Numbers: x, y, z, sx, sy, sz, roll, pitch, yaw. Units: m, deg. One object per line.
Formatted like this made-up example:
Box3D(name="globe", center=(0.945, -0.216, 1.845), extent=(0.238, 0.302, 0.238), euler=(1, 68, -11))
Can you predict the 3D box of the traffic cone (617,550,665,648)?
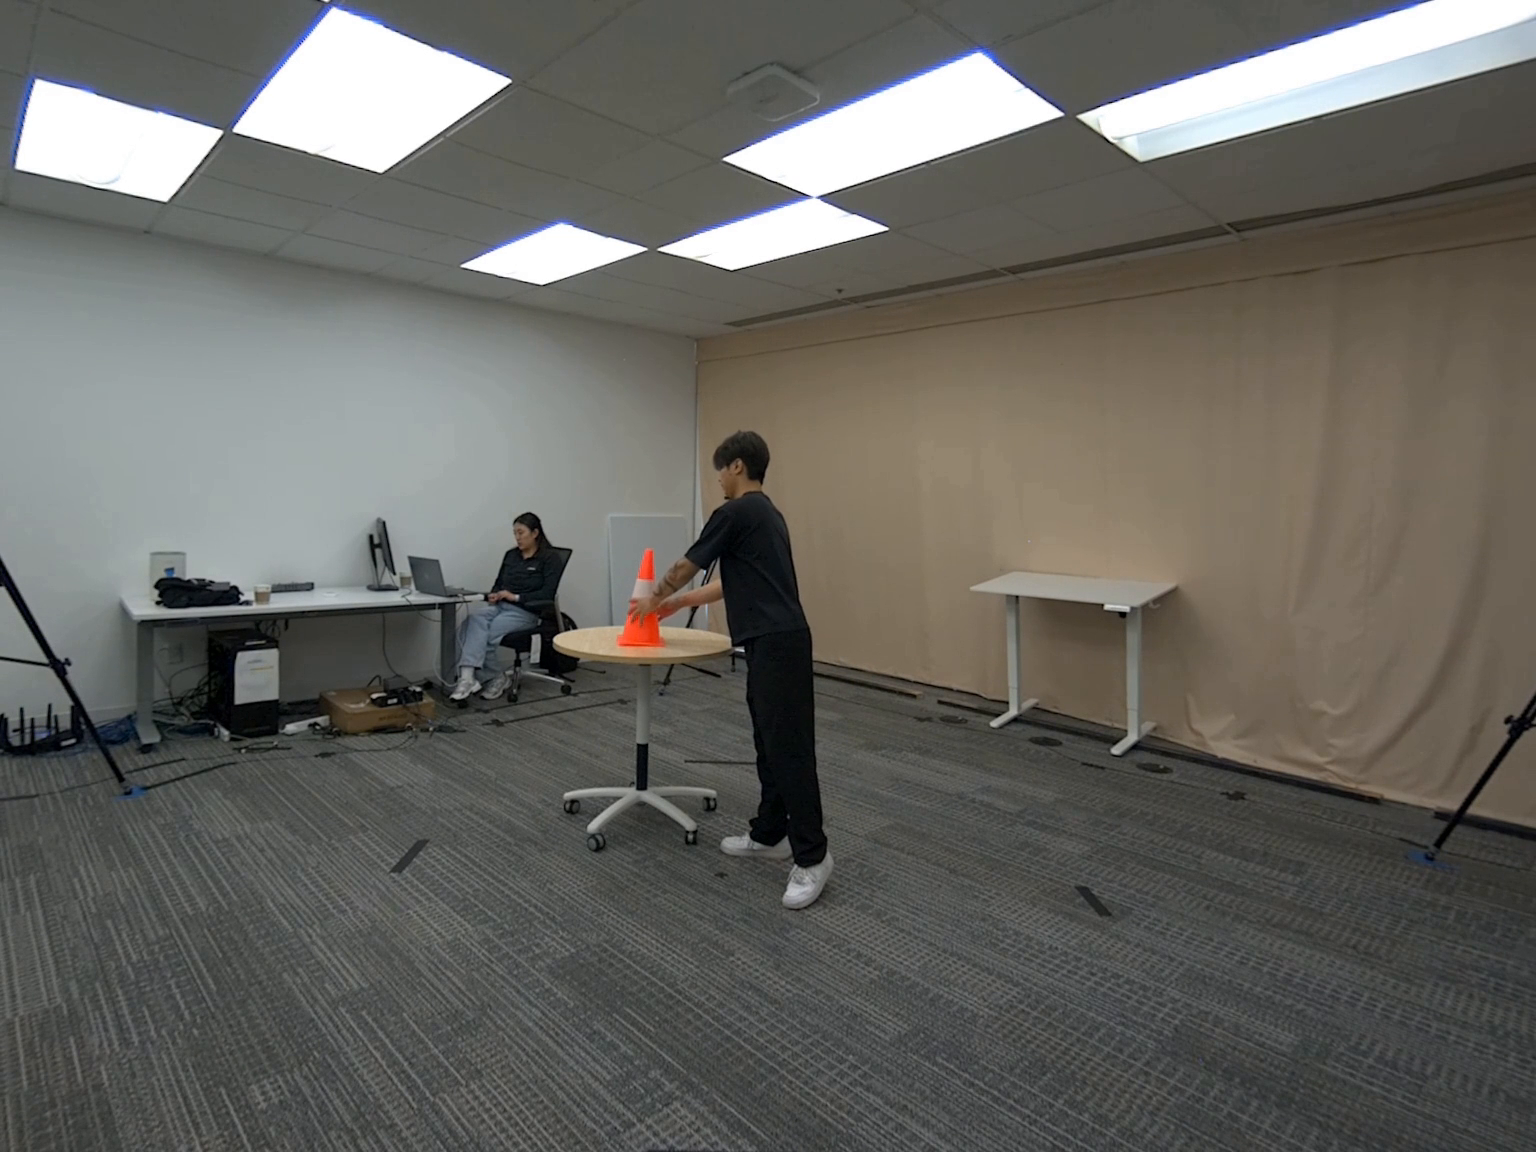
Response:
Box3D(name="traffic cone", center=(-0.515, 0.081, 3.492), extent=(0.203, 0.383, 0.205), euler=(5, 3, -11))
